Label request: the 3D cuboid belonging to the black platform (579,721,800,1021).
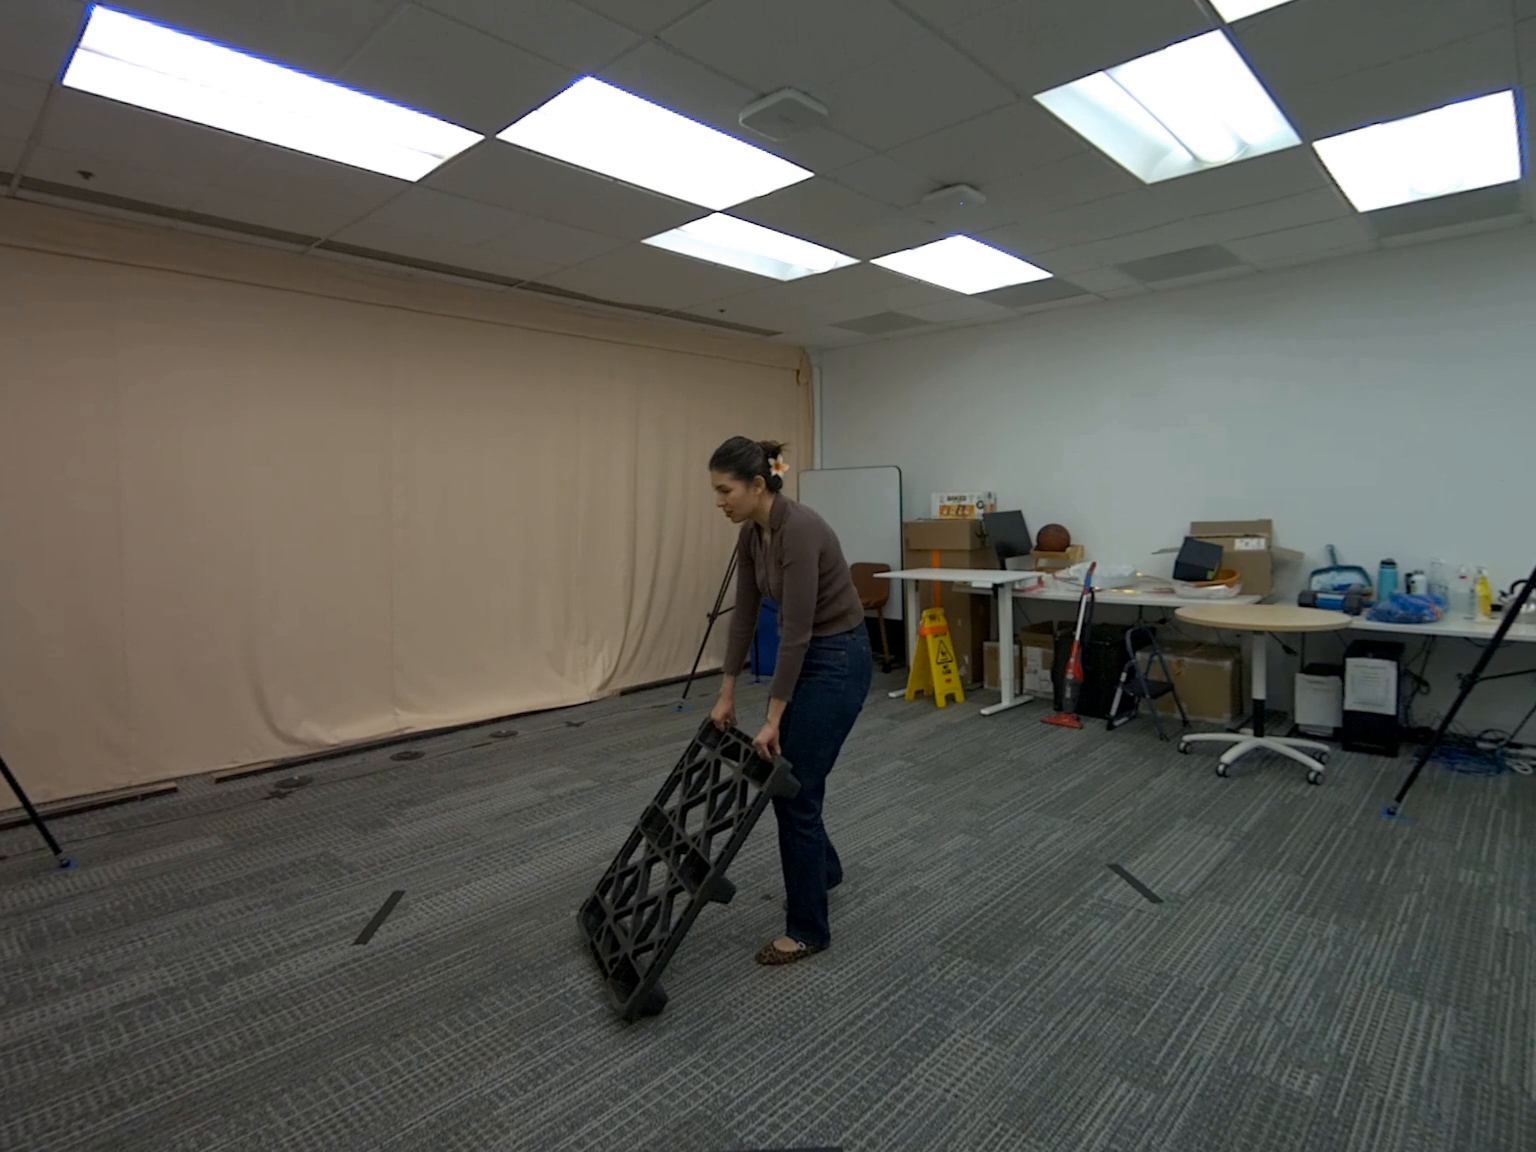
[{"bbox_3d":[-0.239,0.848,2.560,0.140,0.805,0.620,38,-11,-23],"label":"black platform"}]
